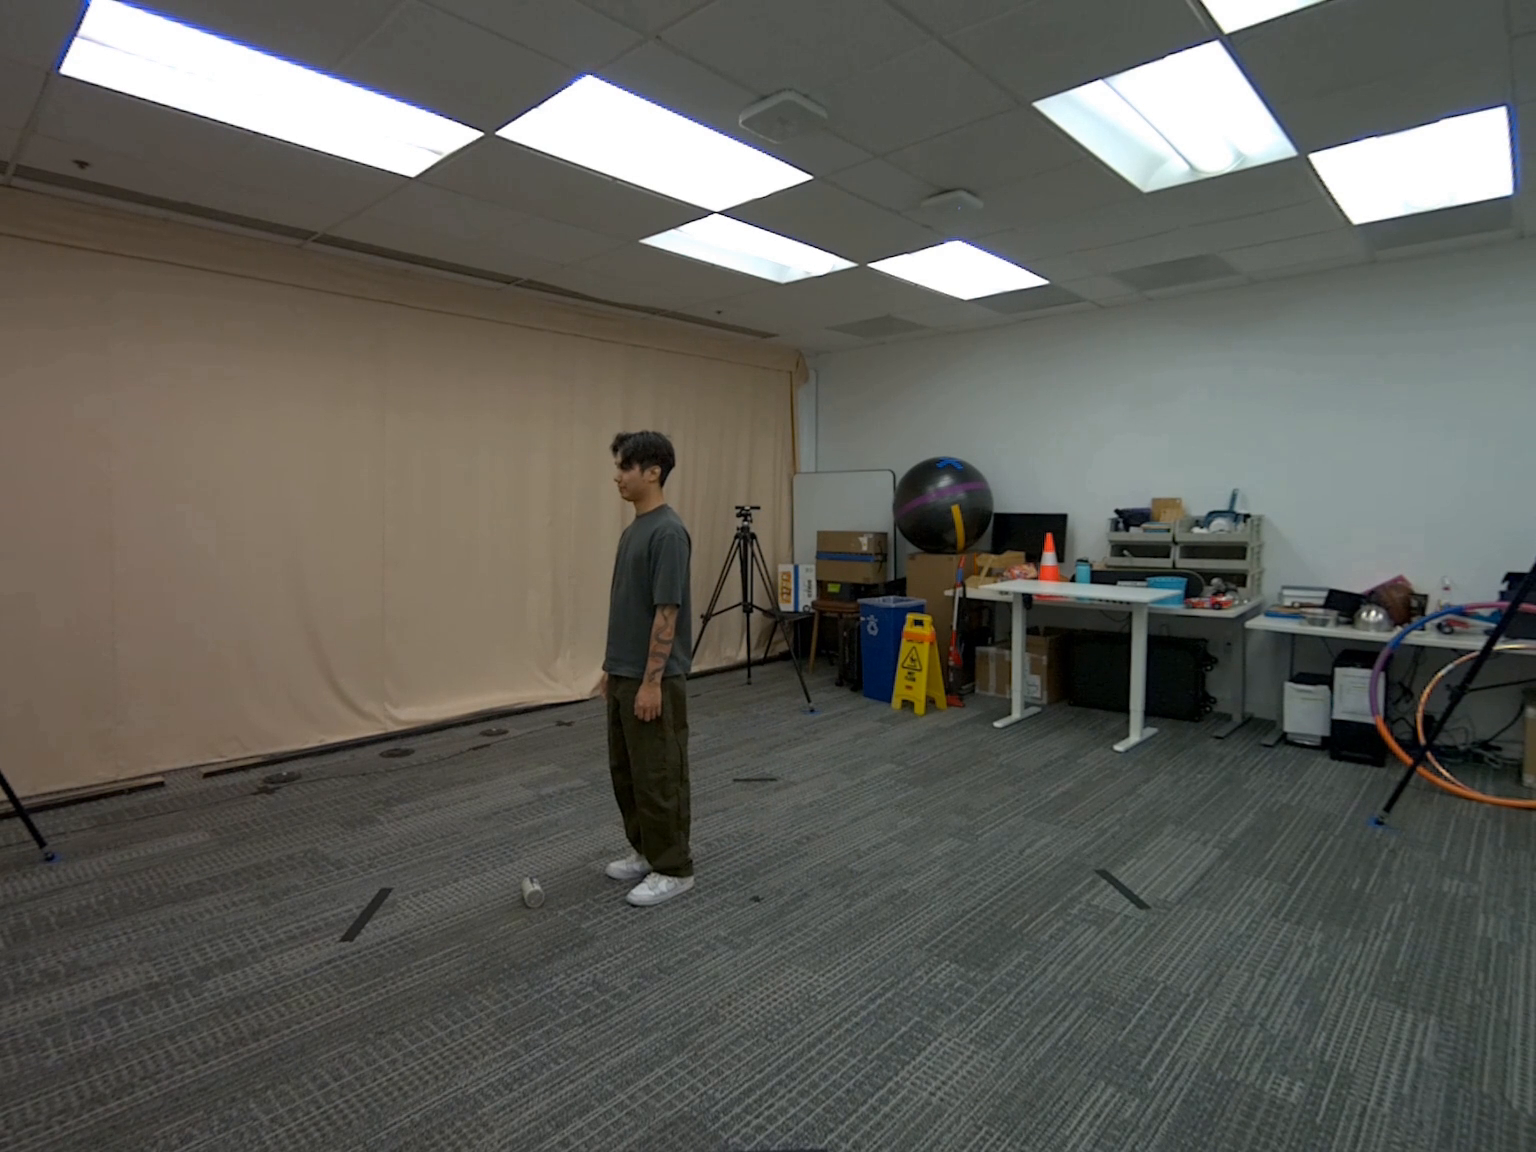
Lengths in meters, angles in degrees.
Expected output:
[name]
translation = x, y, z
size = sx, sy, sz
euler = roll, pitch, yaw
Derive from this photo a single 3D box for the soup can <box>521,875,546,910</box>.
[soup can]
translation = -0.833, 1.119, 2.982
size = 0.065, 0.067, 0.124
euler = -2, 2, -24
